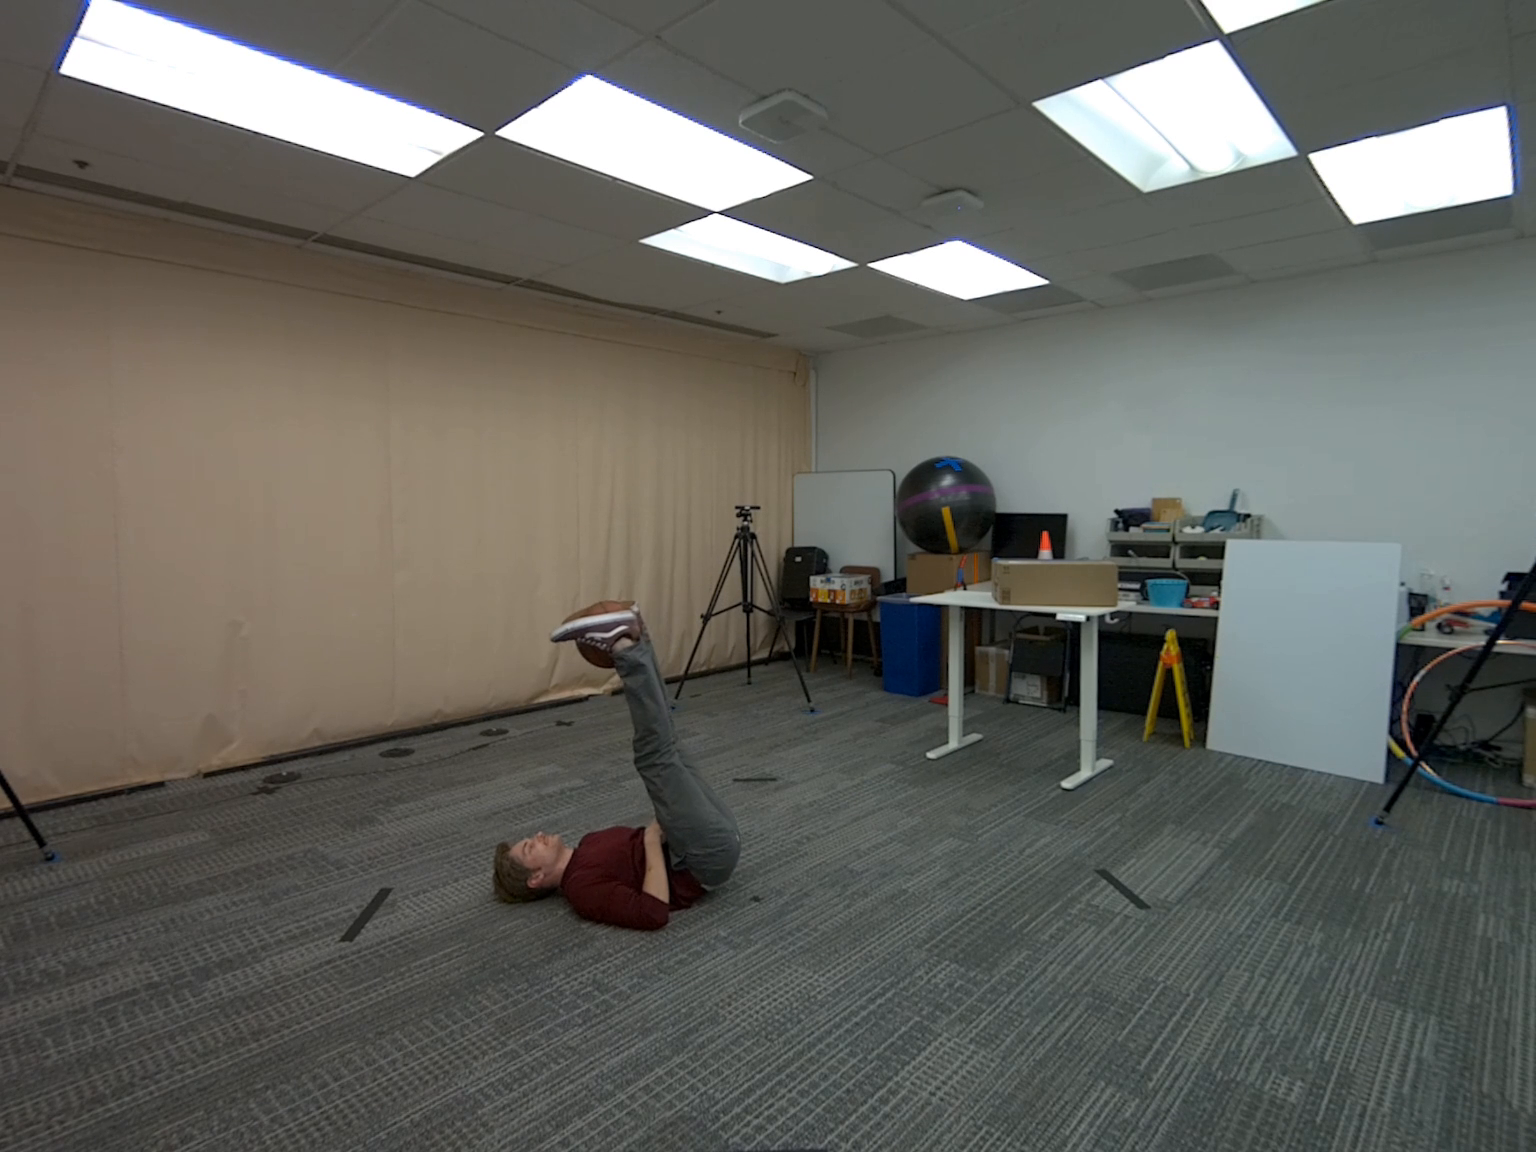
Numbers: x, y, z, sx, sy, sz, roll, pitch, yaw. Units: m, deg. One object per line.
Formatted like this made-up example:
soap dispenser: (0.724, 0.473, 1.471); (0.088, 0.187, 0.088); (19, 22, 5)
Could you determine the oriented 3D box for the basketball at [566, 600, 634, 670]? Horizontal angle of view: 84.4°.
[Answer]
basketball: (-0.544, 0.202, 2.964); (0.235, 0.235, 0.237); (3, 5, -2)
